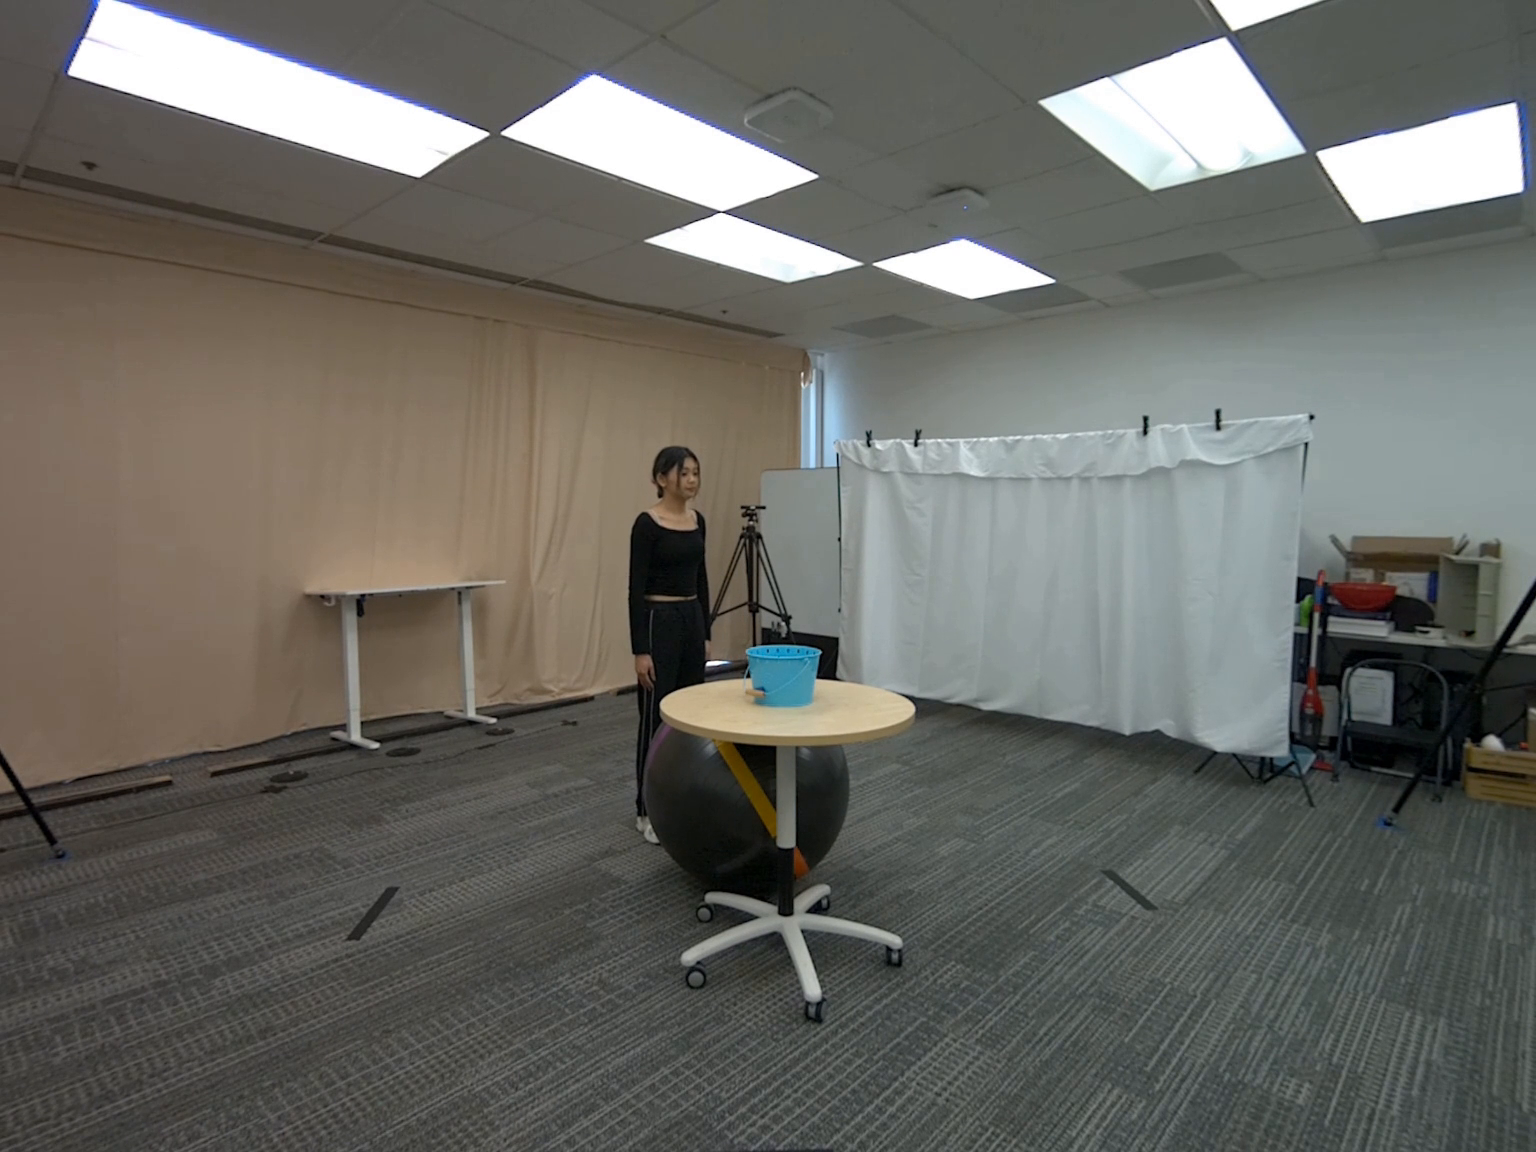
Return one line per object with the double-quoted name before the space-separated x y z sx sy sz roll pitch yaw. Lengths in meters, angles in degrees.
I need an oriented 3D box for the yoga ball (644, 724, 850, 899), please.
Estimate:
"yoga ball" -0.081 0.769 3.117 0.757 0.756 0.760 0 4 -2
